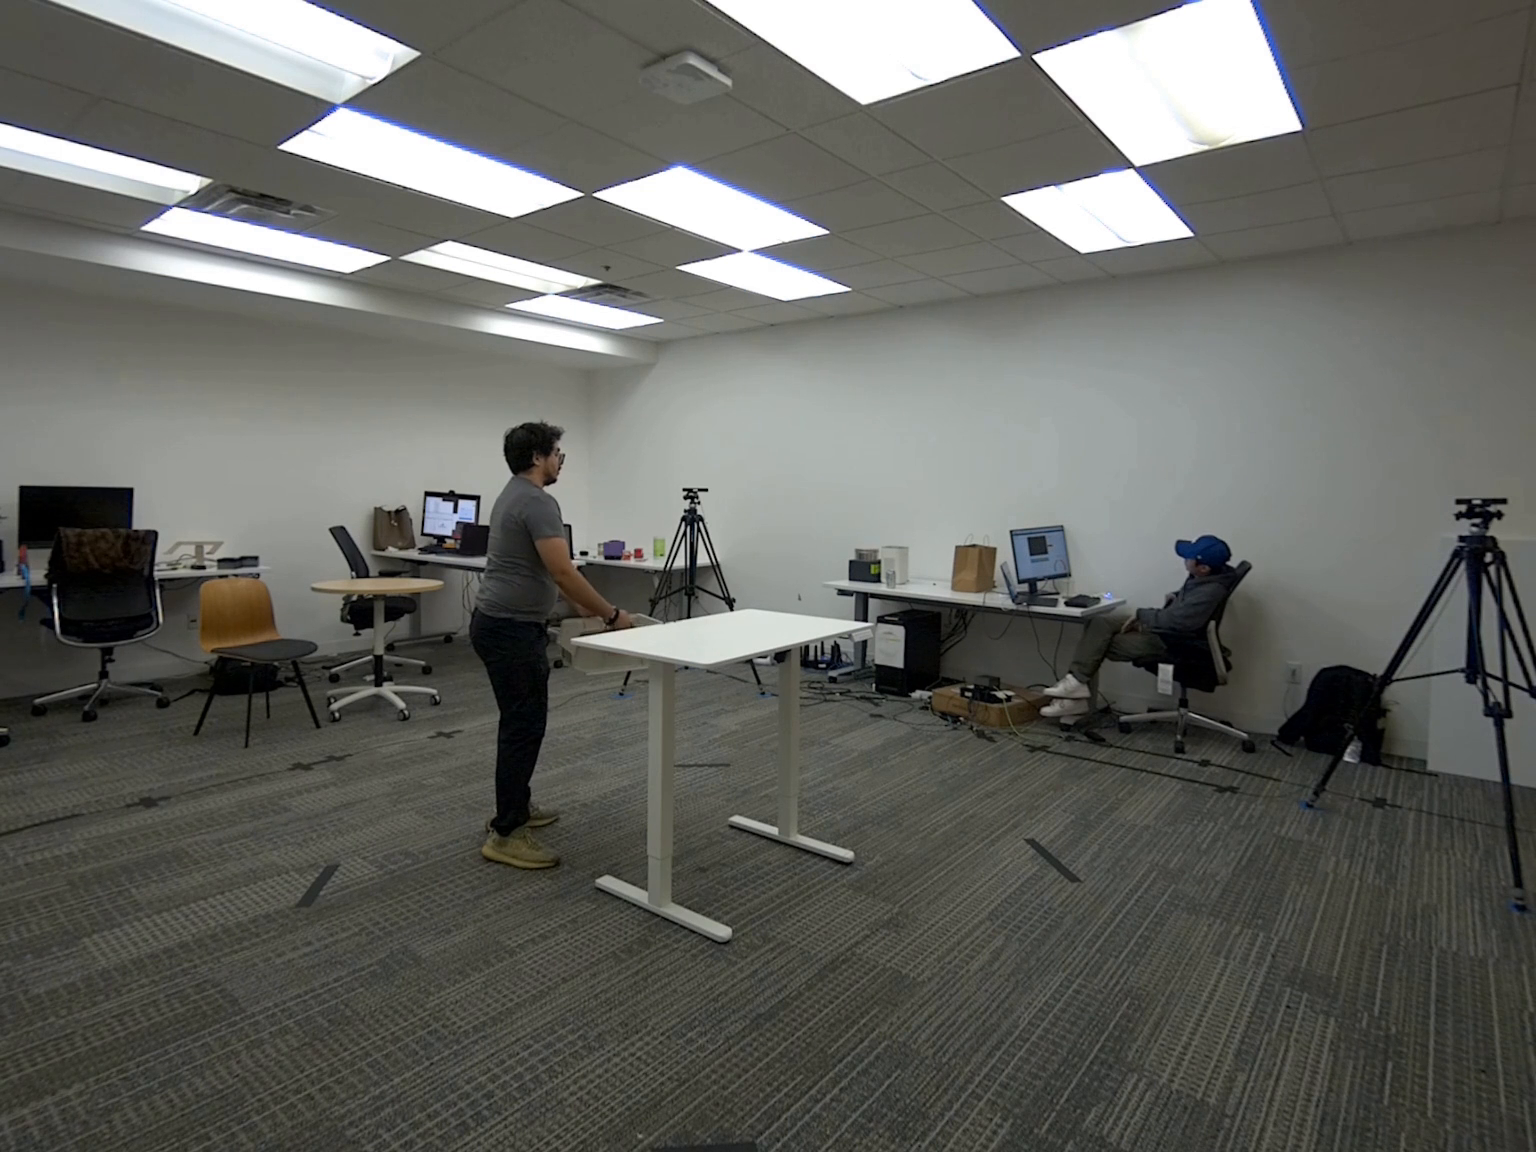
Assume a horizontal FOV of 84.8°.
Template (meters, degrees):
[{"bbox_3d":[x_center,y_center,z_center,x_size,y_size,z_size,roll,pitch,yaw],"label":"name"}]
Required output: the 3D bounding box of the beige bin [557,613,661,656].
[{"bbox_3d":[-0.668,0.274,3.548,0.369,0.189,0.432,-2,2,-25],"label":"beige bin"}]
